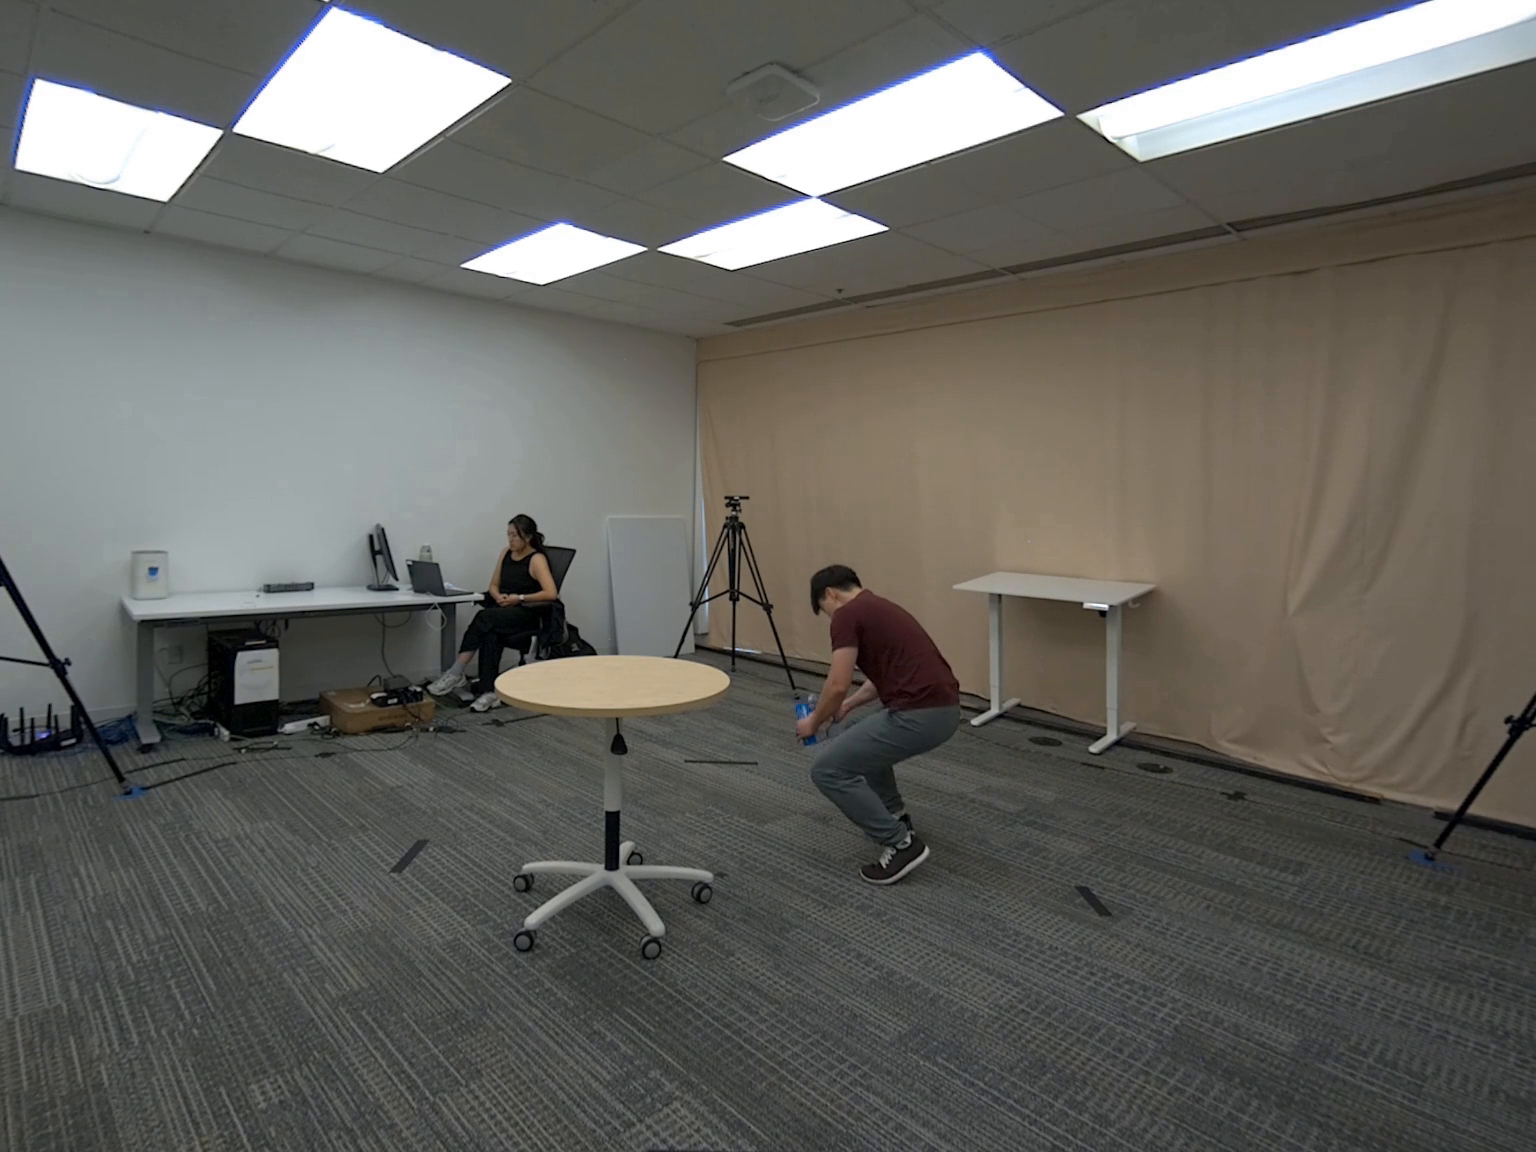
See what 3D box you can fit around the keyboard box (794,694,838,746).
[{"bbox_3d":[0.220,0.641,3.716,0.060,0.177,0.428,-12,-10,15],"label":"keyboard box"}]
